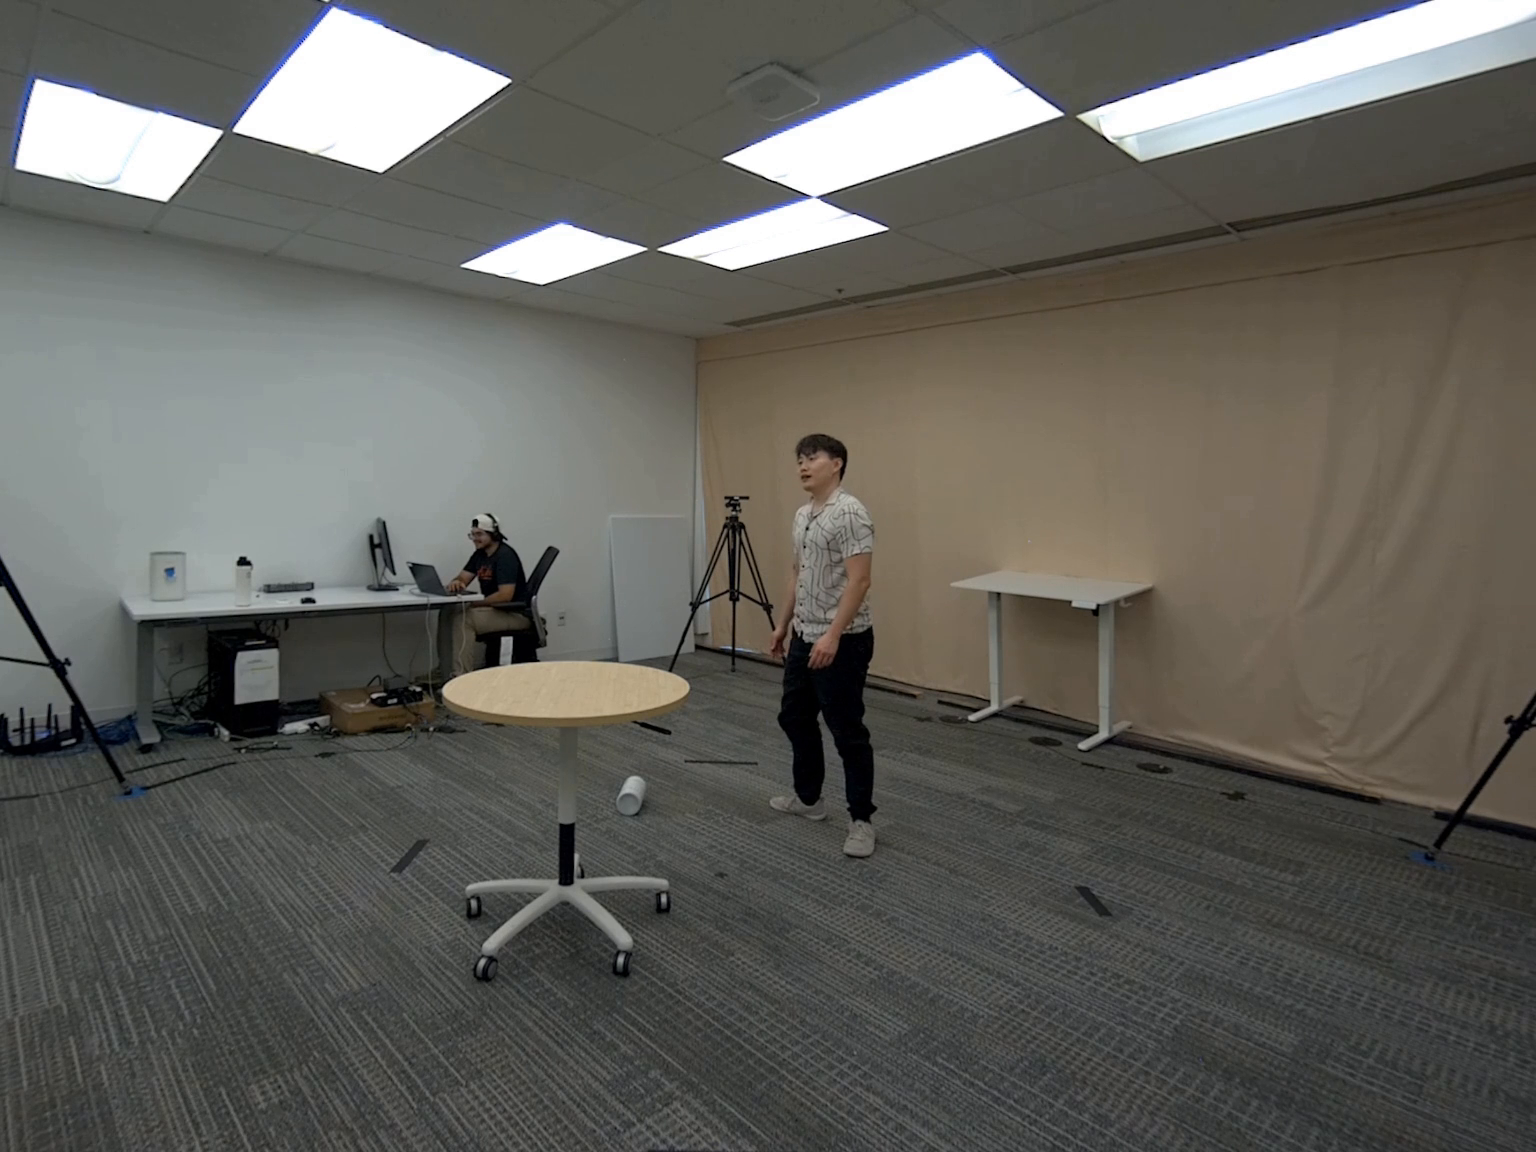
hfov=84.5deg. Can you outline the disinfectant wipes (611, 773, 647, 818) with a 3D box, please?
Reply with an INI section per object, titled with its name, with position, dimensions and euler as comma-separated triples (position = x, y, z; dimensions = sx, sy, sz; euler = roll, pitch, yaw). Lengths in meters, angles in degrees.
[disinfectant wipes]
position = -0.617, 0.969, 3.757
dimensions = 0.118, 0.117, 0.217
euler = 1, 3, 1
